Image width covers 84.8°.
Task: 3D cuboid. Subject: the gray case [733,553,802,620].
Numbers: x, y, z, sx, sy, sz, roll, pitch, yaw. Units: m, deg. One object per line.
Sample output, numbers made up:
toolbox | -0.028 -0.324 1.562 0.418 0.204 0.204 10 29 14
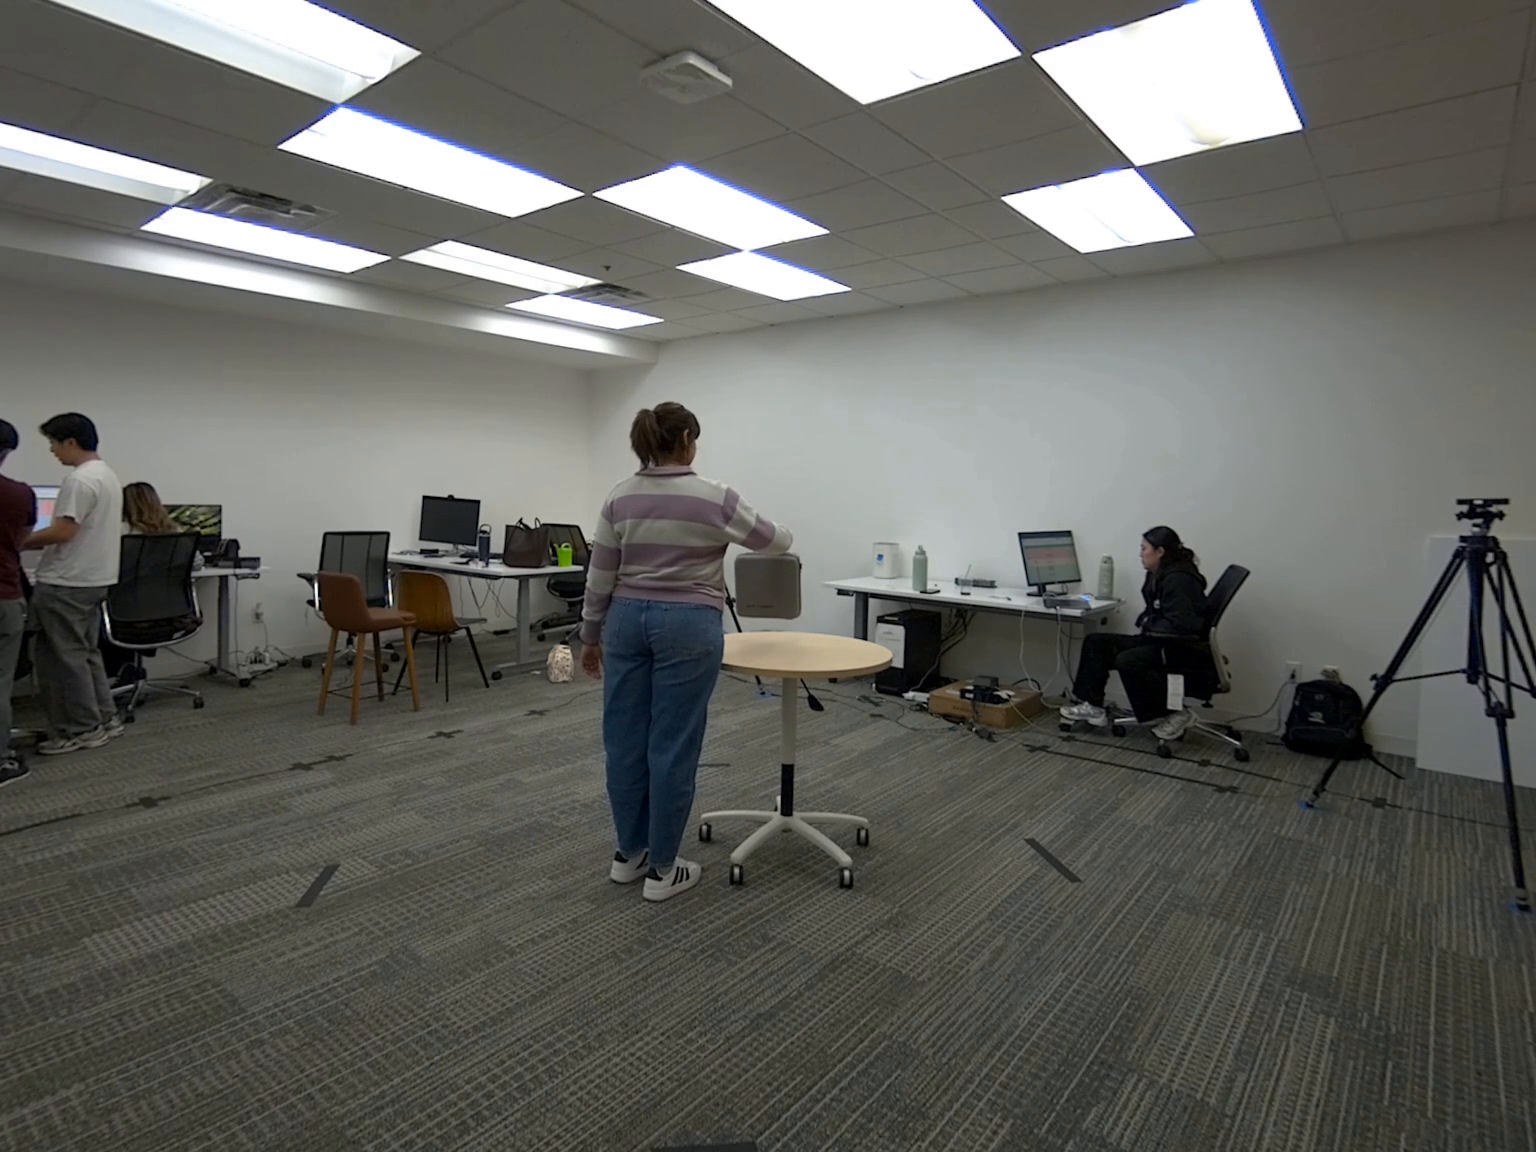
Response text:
gray case | -0.012 0.031 3.315 0.261 0.258 0.104 2 10 14
